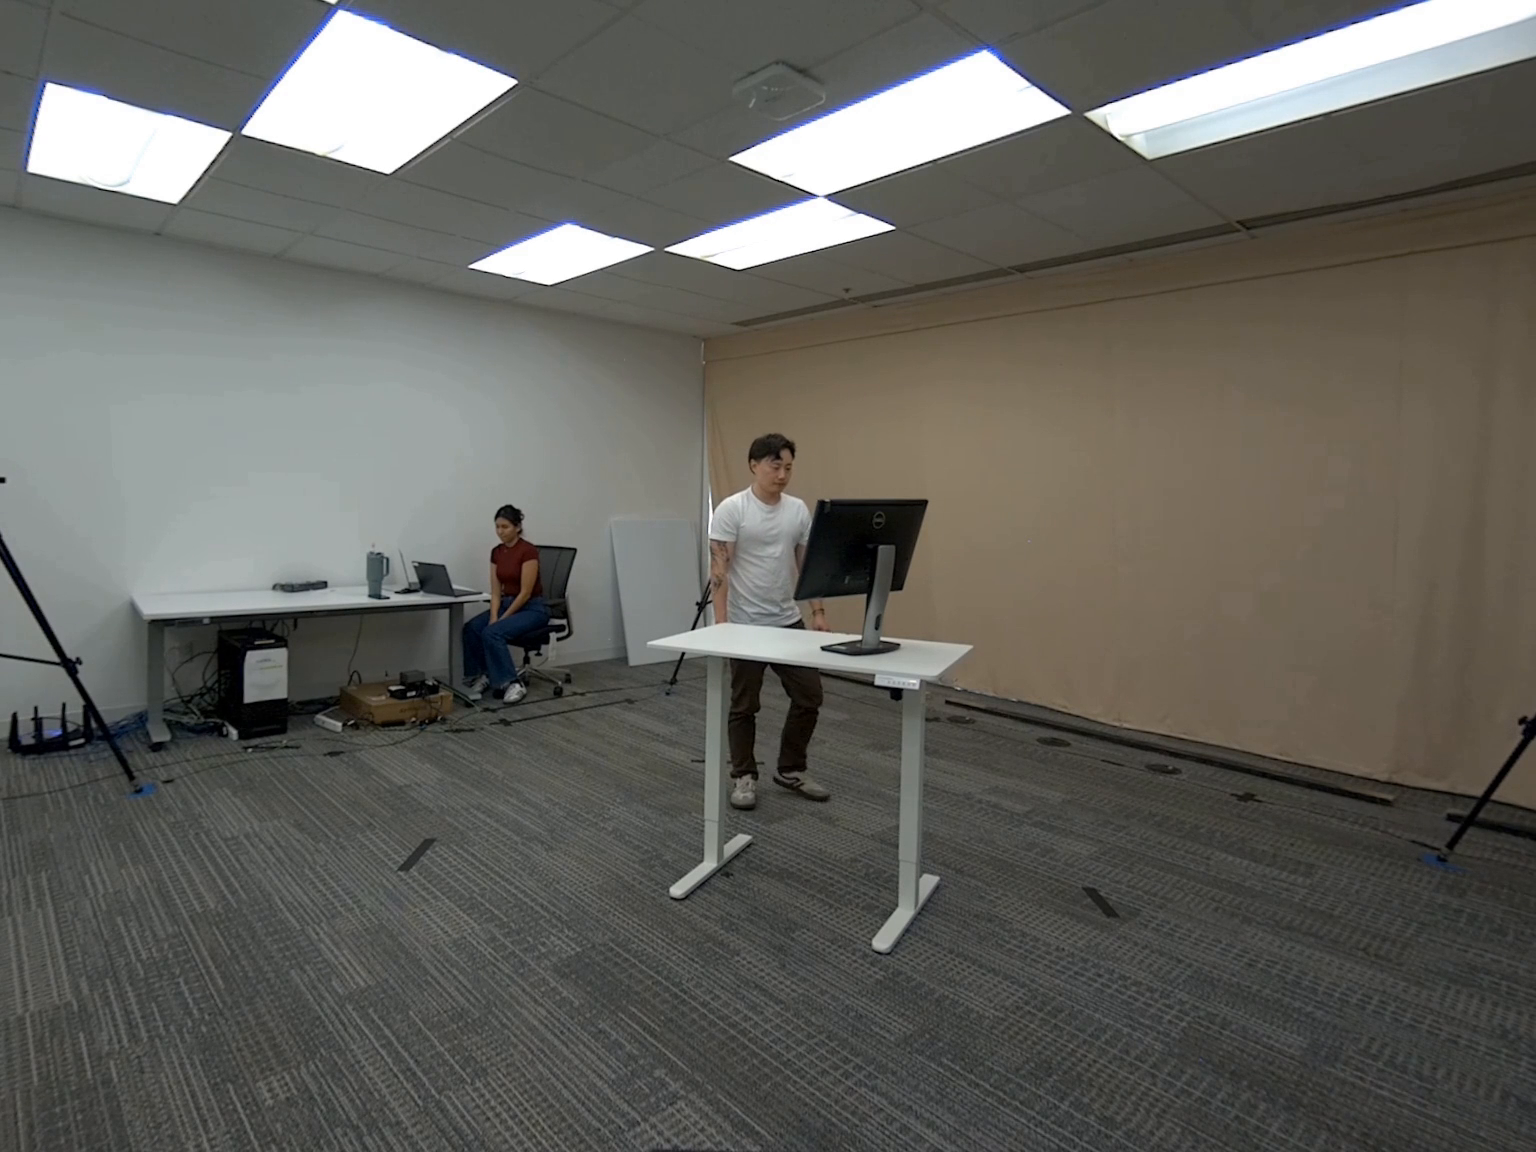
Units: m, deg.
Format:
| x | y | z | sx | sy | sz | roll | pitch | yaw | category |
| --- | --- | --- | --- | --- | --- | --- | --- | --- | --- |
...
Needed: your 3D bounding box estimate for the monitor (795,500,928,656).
| x | y | z | sx | sy | sz | roll | pitch | yaw | category |
| --- | --- | --- | --- | --- | --- | --- | --- | --- | --- |
| 0.331 | 0.000 | 2.861 | 0.527 | 0.520 | 0.192 | -3 | 9 | -42 | monitor |
